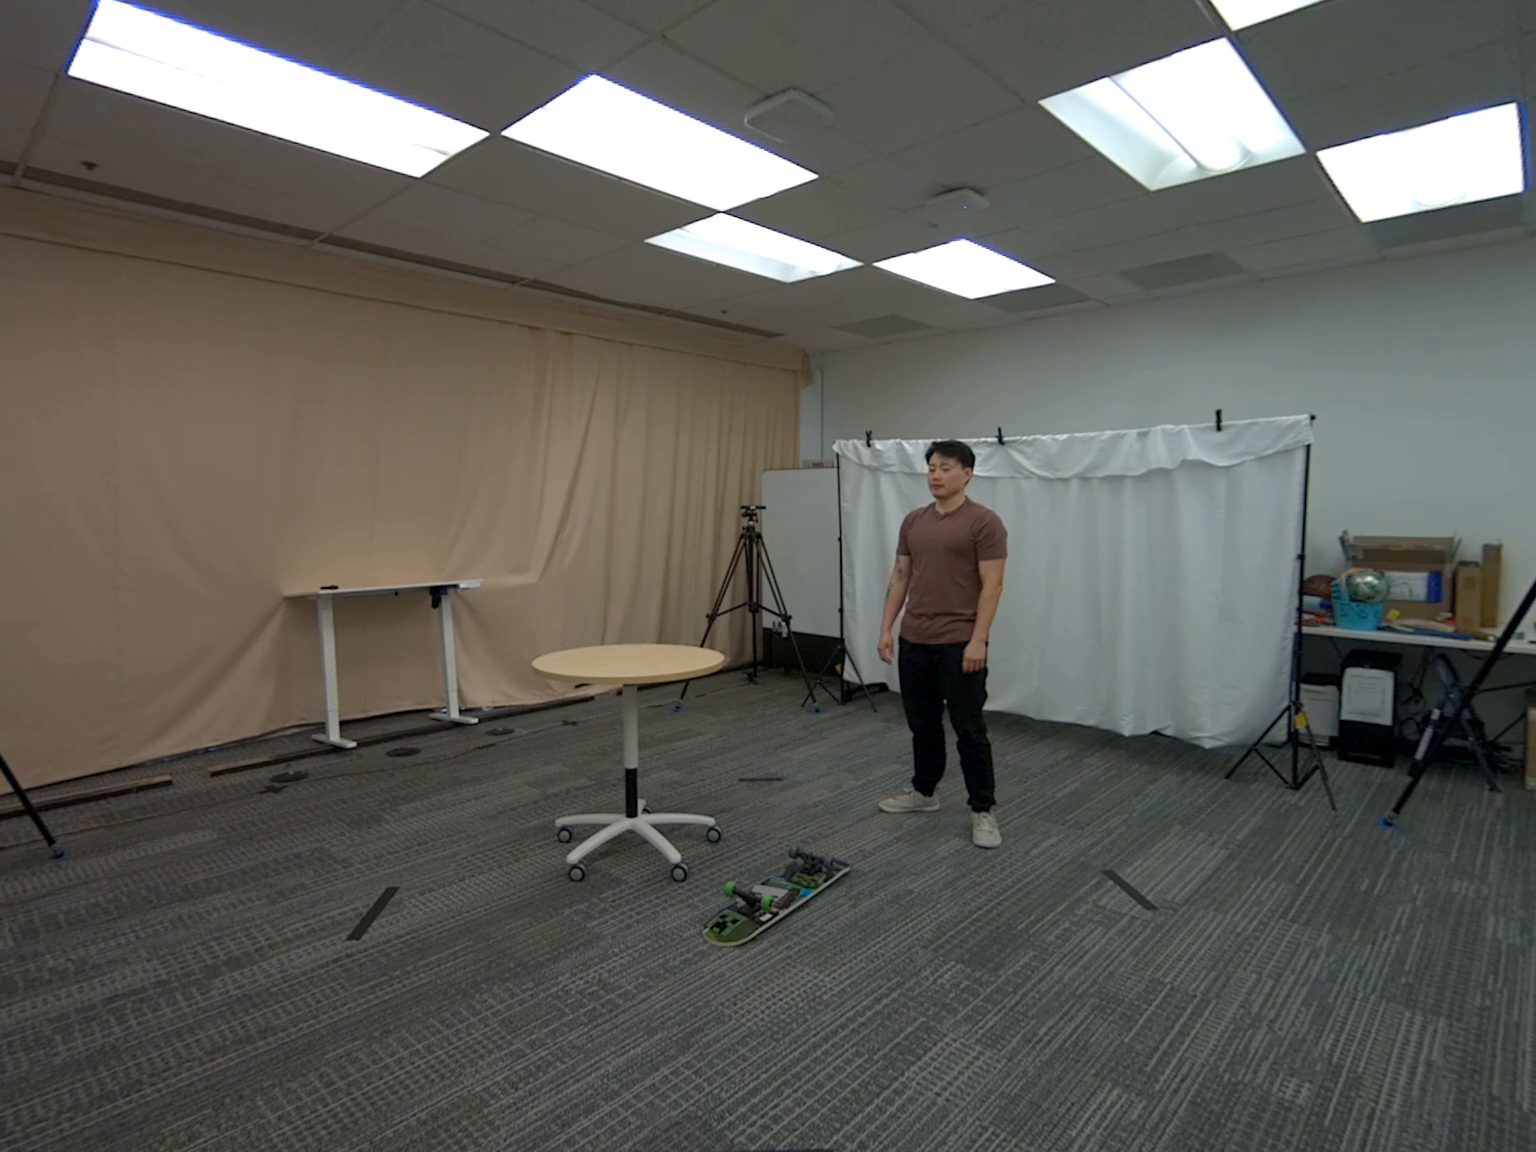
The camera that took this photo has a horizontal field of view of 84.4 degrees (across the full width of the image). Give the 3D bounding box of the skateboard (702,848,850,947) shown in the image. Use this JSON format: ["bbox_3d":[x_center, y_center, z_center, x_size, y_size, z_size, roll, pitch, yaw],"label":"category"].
[{"bbox_3d":[0.053,1.090,2.977,0.199,0.110,0.762,1,5,36],"label":"skateboard"}]
